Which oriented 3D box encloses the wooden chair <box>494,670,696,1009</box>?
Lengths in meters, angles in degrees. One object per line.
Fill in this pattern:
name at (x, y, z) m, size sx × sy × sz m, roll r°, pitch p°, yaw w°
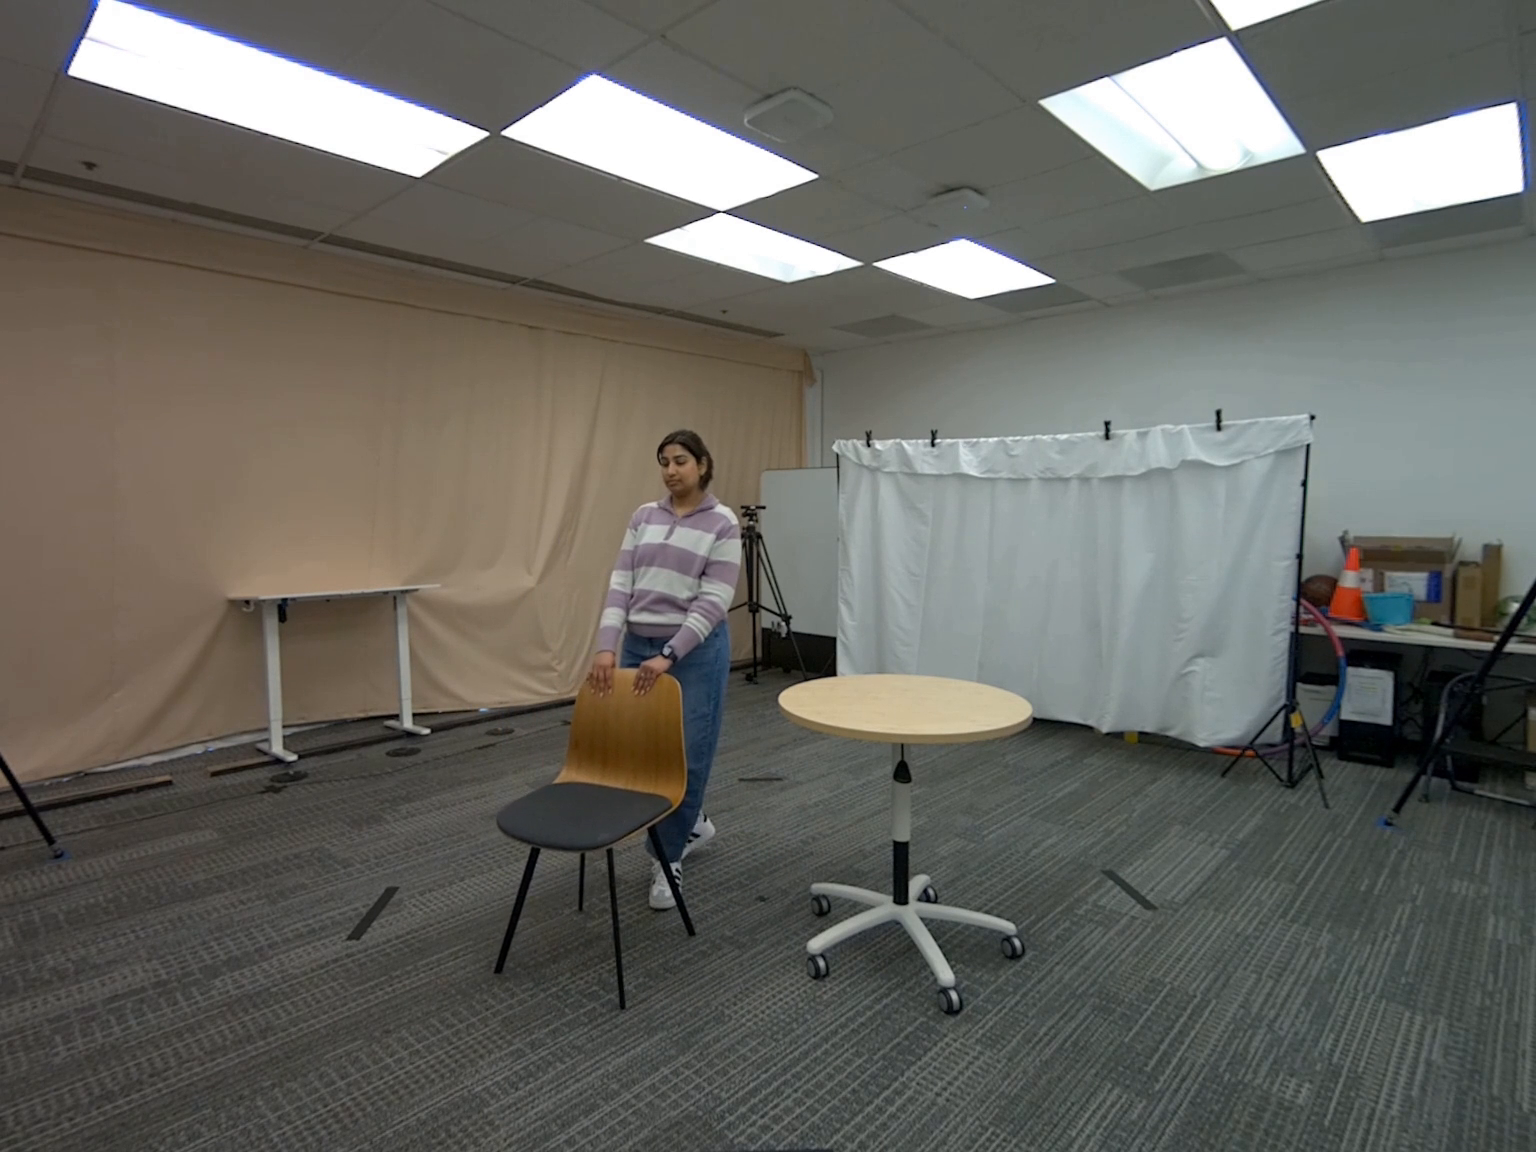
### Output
wooden chair at (-0.519, 0.751, 2.589) m, size 0.490 × 0.878 × 0.510 m, roll 2°, pitch -1°, yaw 23°
